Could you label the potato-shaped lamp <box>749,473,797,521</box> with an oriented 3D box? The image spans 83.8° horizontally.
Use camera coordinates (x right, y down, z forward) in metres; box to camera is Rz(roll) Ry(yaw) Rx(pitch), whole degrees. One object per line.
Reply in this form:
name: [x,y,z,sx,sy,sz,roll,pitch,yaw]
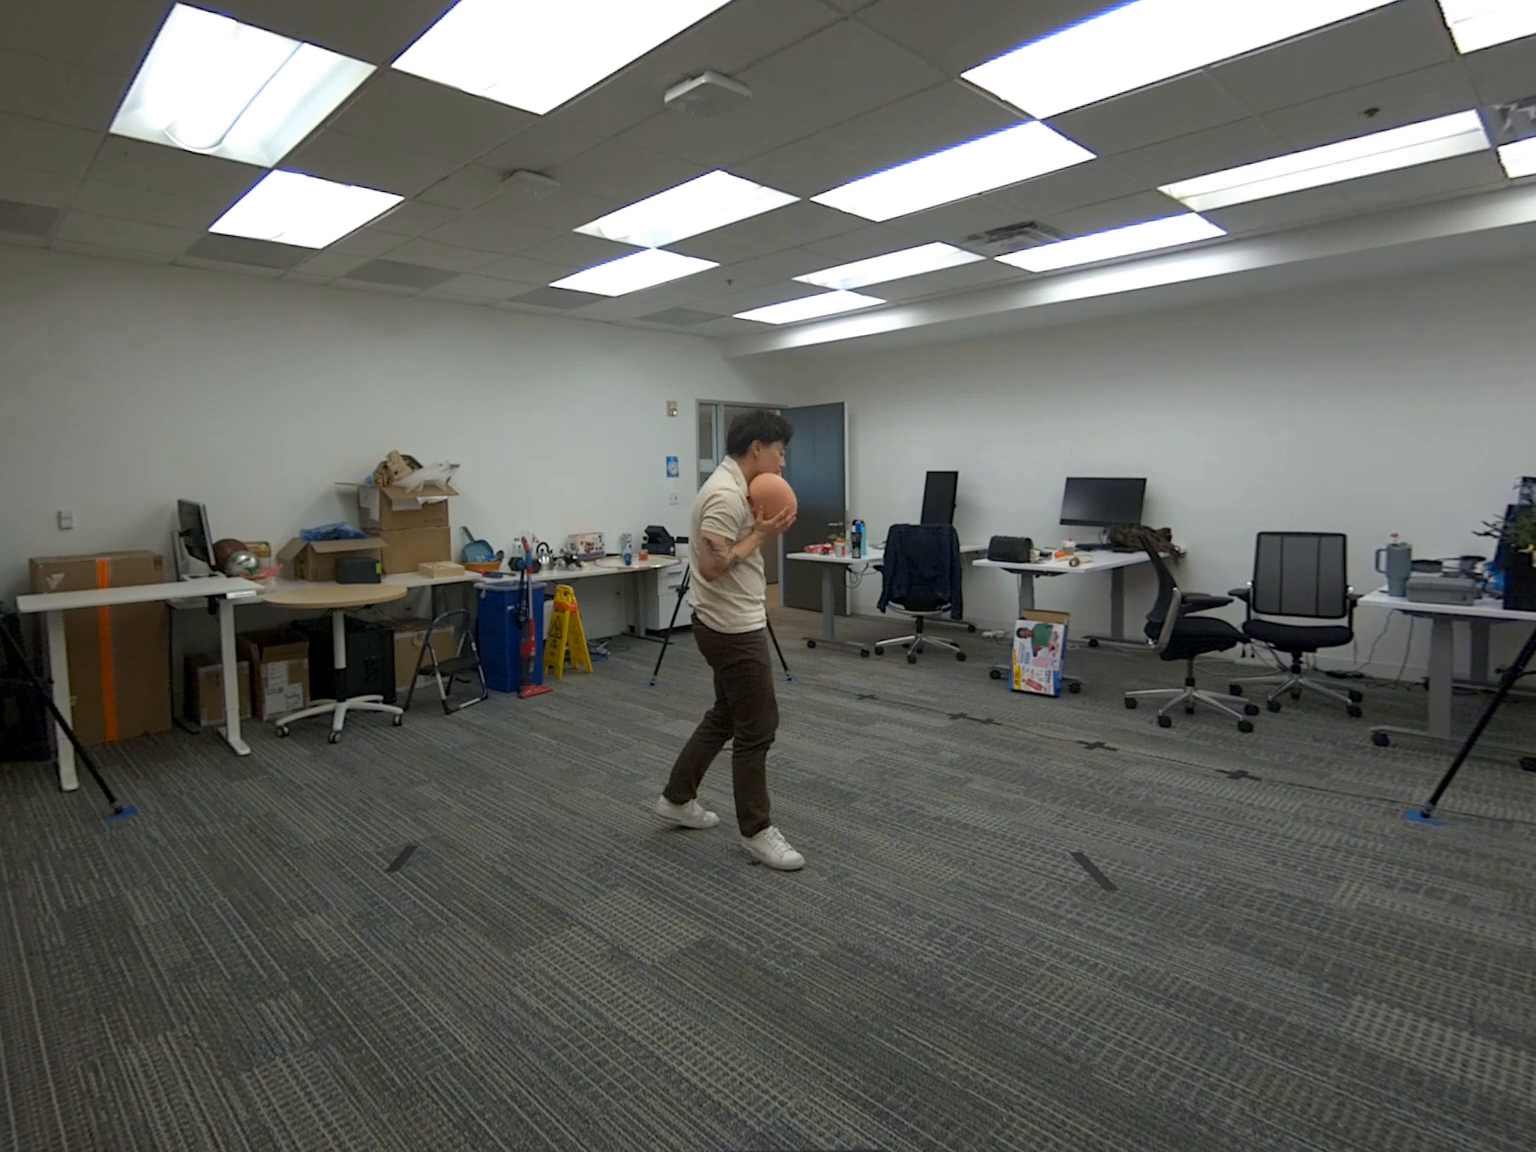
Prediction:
potato-shaped lamp: [0.007,-0.272,3.125,0.174,0.193,0.166,-19,26,30]
